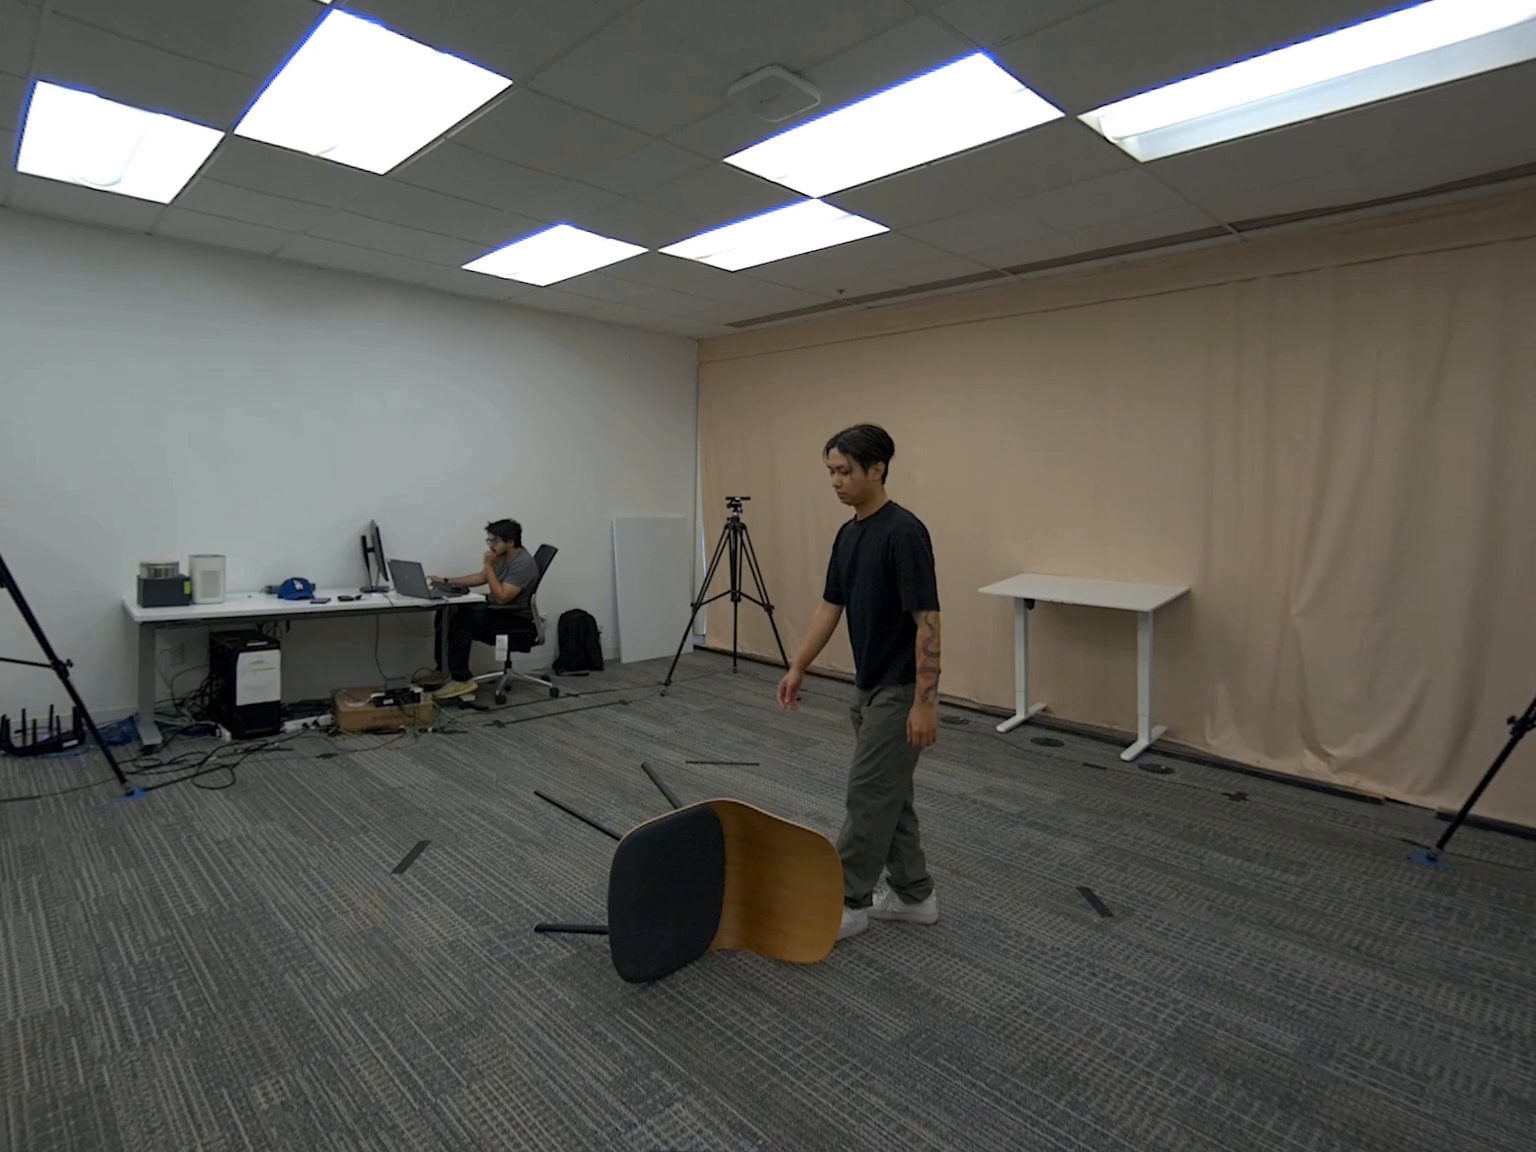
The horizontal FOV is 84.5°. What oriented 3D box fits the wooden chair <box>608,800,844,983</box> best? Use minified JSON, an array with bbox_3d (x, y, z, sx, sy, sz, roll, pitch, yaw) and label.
[{"bbox_3d":[-0.282,0.926,2.530,0.899,0.477,0.511,4,4,38],"label":"wooden chair"}]
